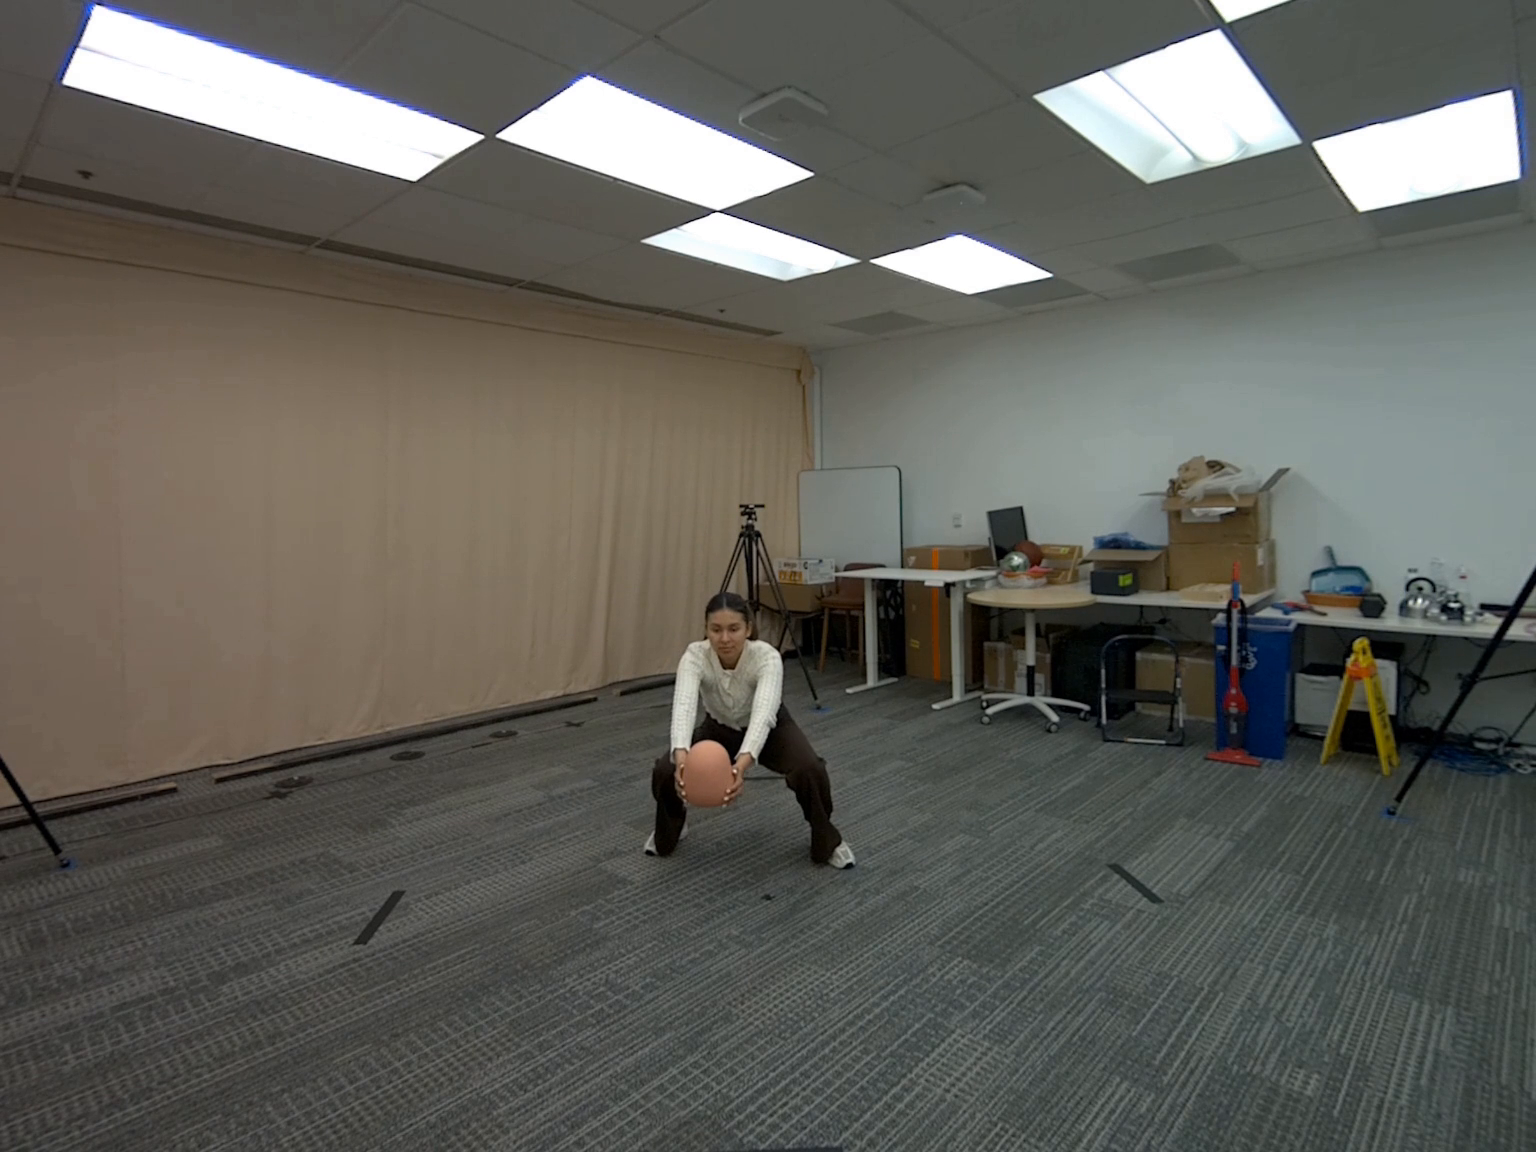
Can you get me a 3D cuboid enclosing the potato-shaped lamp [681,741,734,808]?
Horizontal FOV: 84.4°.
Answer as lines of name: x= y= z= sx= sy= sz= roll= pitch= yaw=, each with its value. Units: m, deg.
potato-shaped lamp: x=-0.187 y=0.605 z=2.623 sx=0.167 sy=0.198 sz=0.169 roll=4 pitch=3 yaw=10
